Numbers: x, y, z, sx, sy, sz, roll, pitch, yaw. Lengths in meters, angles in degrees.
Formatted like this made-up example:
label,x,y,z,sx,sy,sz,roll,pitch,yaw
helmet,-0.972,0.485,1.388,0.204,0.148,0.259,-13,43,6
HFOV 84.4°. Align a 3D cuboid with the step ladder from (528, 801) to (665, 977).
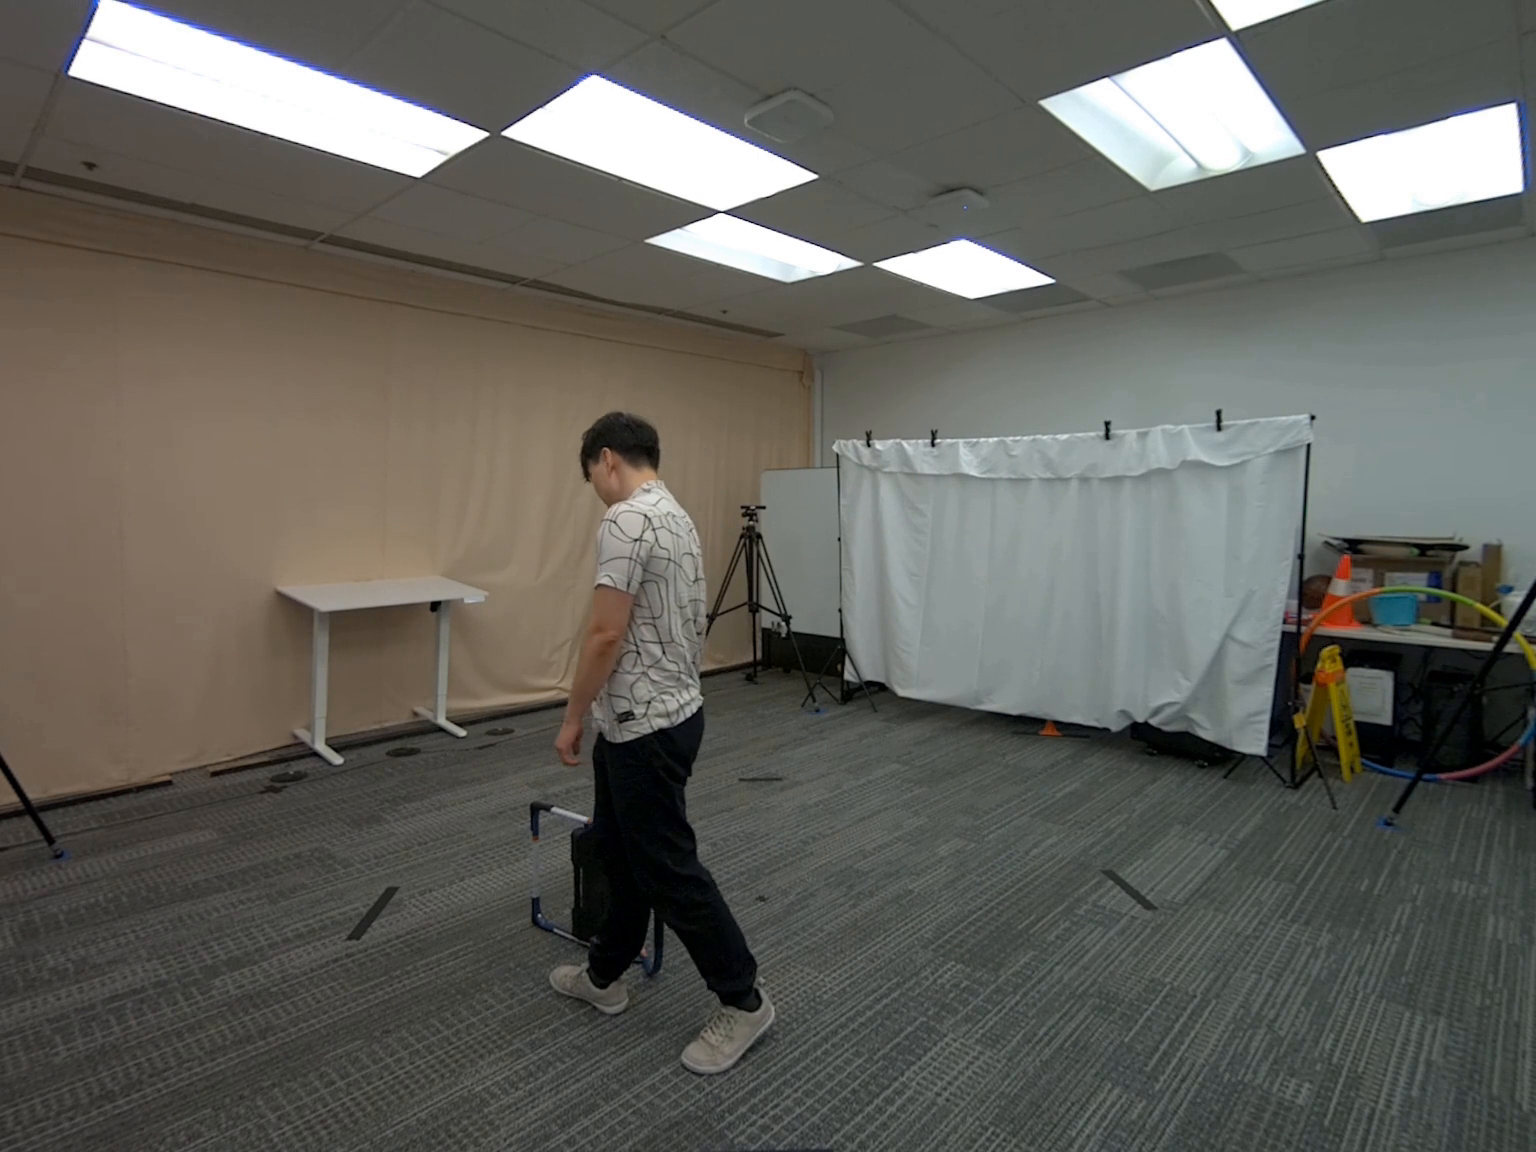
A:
label,x,y,z,sx,sy,sz,roll,pitch,yaw
step ladder,-0.461,0.966,2.671,0.339,0.429,0.626,-5,6,-42
